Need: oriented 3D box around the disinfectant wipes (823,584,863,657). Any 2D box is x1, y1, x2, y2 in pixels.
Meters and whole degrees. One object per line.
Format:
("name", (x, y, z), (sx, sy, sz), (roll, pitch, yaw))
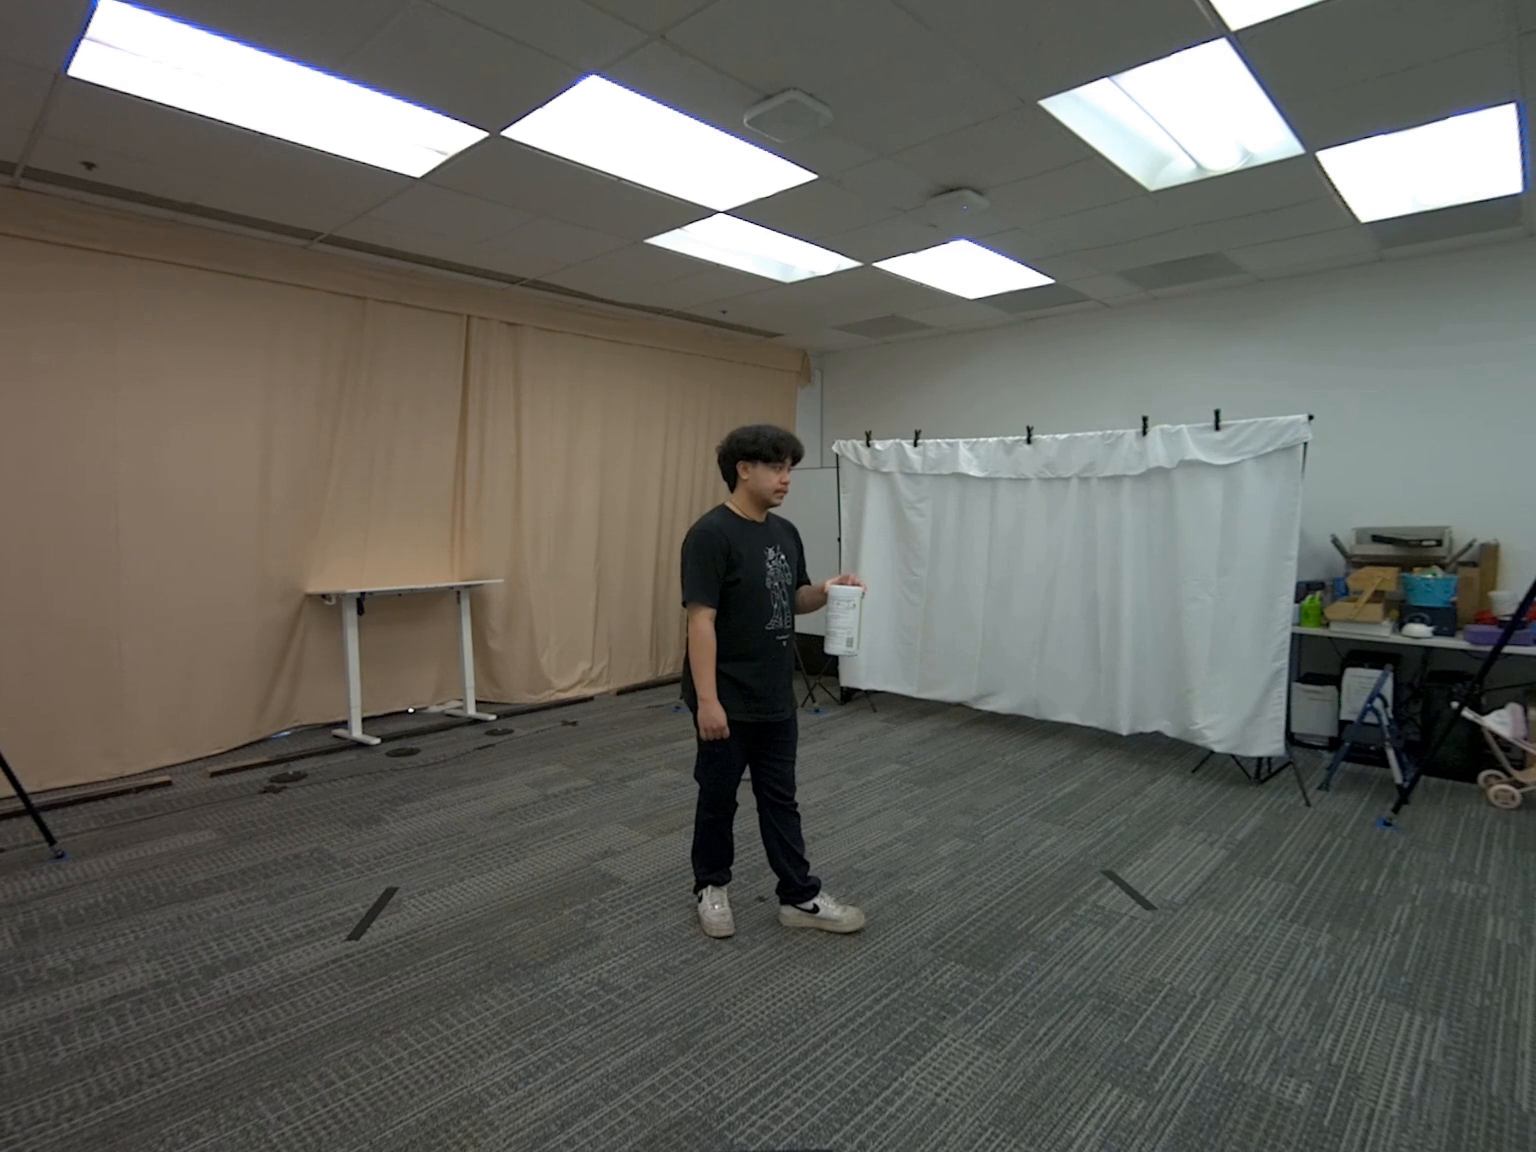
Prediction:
("disinfectant wipes", (0.245, 0.142, 2.618), (0.117, 0.217, 0.118), (3, 2, -2))
